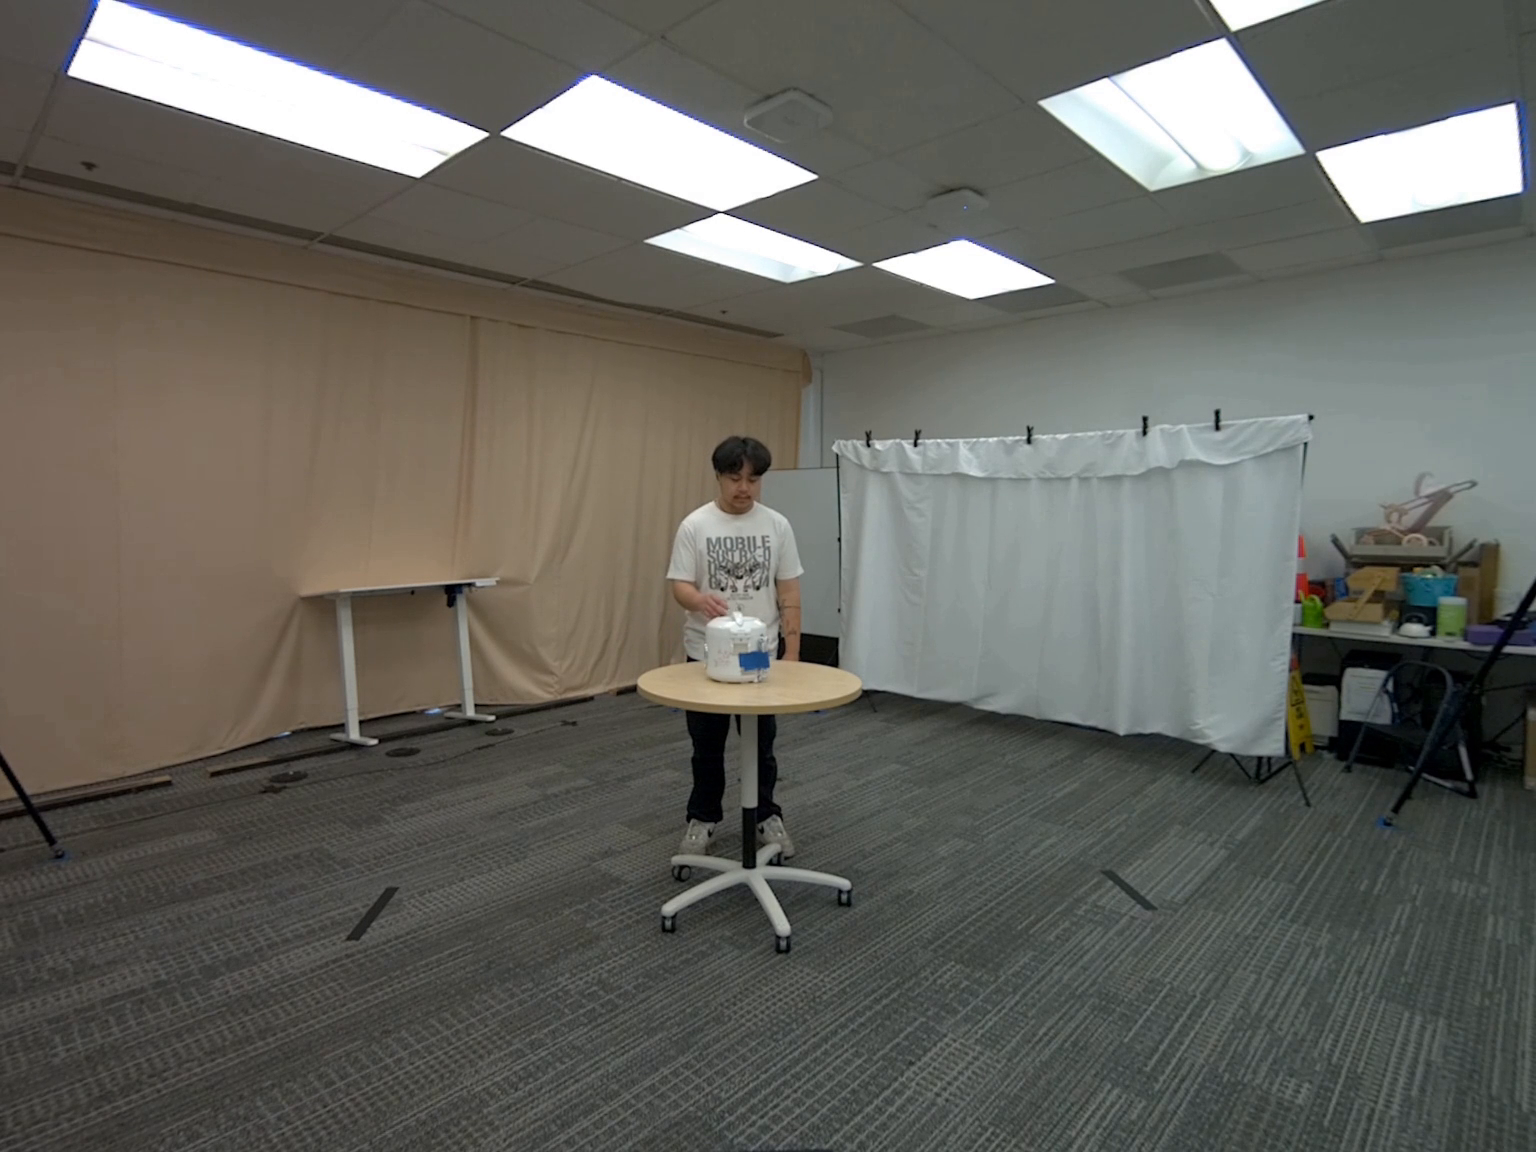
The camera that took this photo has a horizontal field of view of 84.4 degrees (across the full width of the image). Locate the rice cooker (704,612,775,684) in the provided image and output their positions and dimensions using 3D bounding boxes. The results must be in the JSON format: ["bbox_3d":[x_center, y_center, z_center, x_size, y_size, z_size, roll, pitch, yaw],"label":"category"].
[{"bbox_3d":[-0.108,0.235,2.894,0.216,0.232,0.223,0,3,-8],"label":"rice cooker"}]
